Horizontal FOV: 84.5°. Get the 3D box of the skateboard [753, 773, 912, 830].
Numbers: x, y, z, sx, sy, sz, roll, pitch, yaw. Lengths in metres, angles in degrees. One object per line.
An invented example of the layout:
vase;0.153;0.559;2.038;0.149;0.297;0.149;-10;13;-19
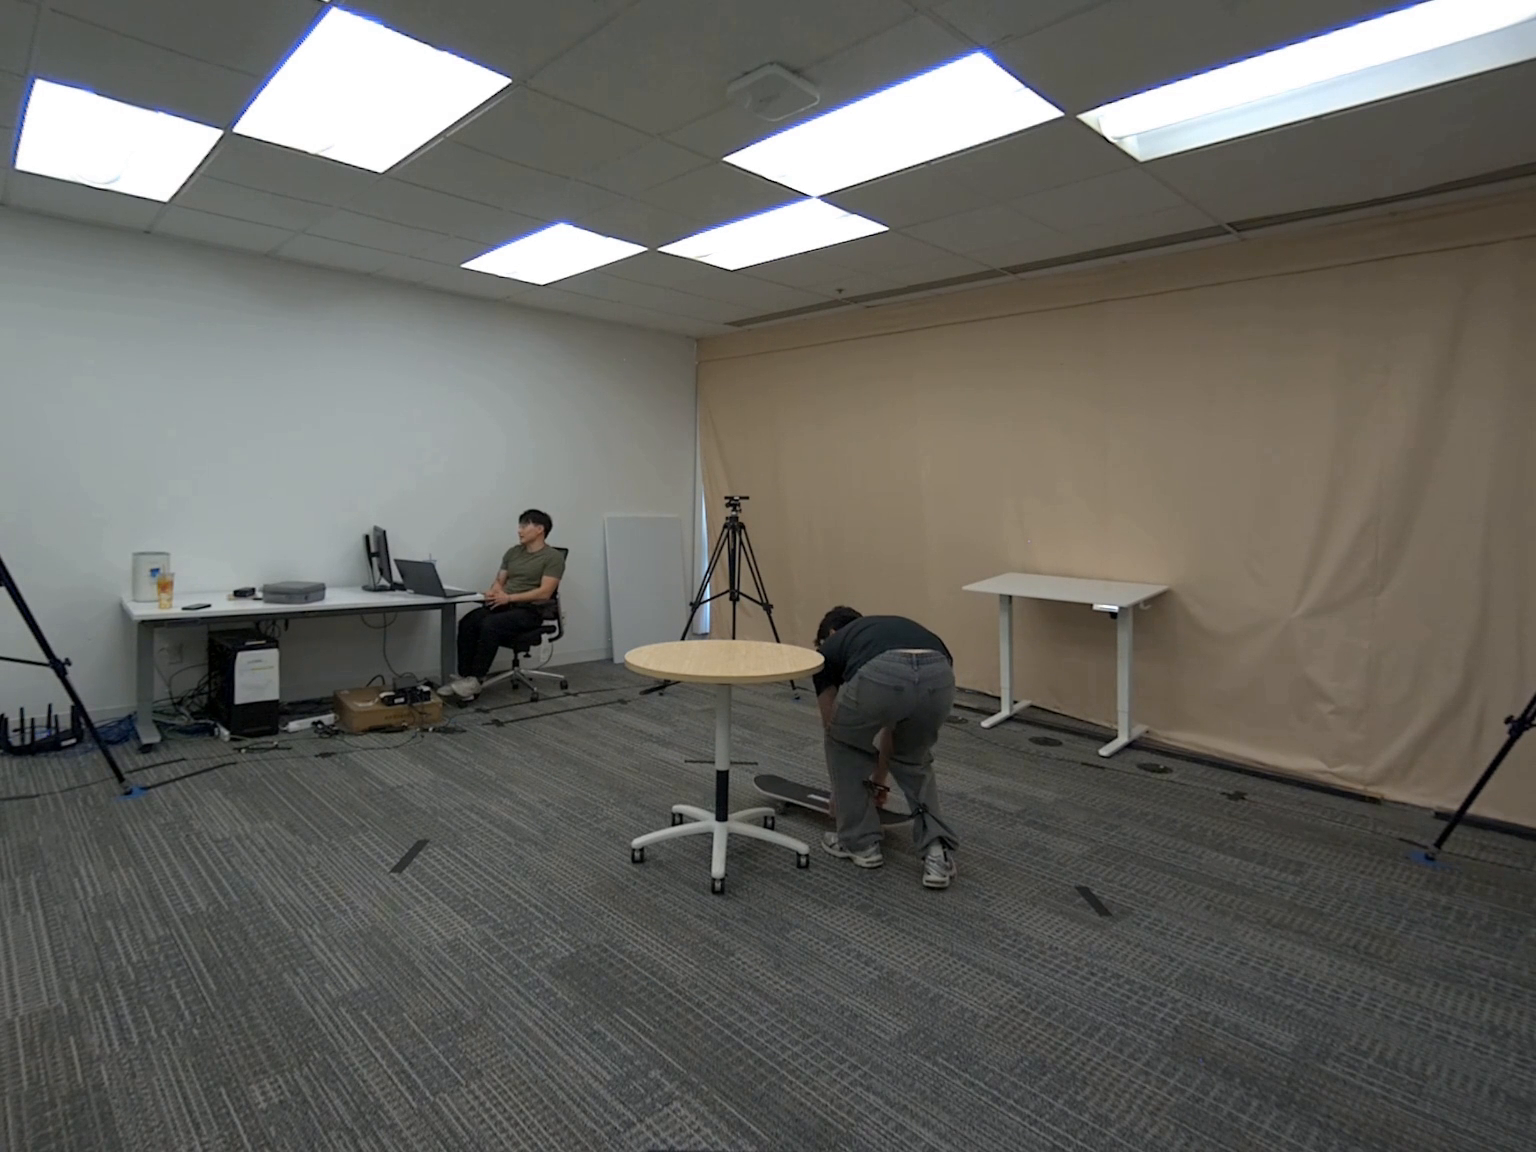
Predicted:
skateboard;0.253;1.014;3.663;0.805;0.110;0.189;6;7;40
